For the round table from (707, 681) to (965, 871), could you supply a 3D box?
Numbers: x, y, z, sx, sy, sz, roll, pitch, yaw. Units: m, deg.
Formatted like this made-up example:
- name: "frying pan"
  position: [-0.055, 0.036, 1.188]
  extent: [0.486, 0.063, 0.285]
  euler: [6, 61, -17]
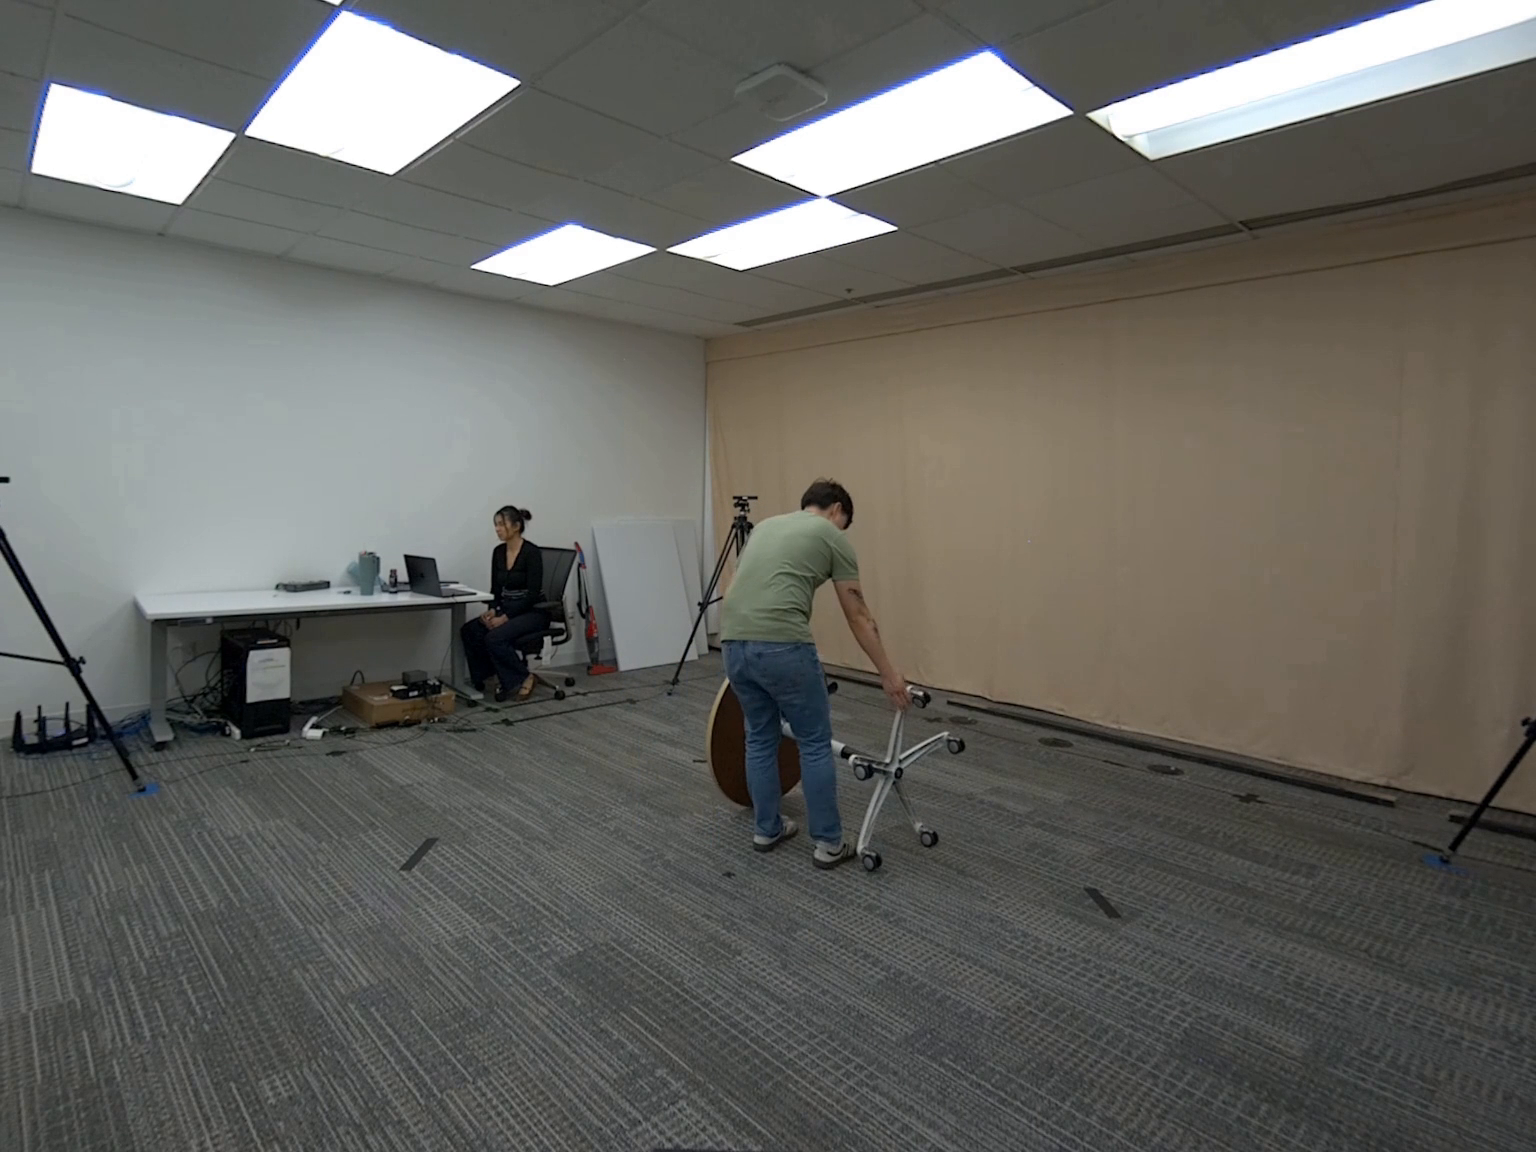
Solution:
- name: "round table"
  position: [0.290, 0.729, 3.533]
  extent: [0.746, 0.760, 0.816]
  euler: [-3, 11, -45]
